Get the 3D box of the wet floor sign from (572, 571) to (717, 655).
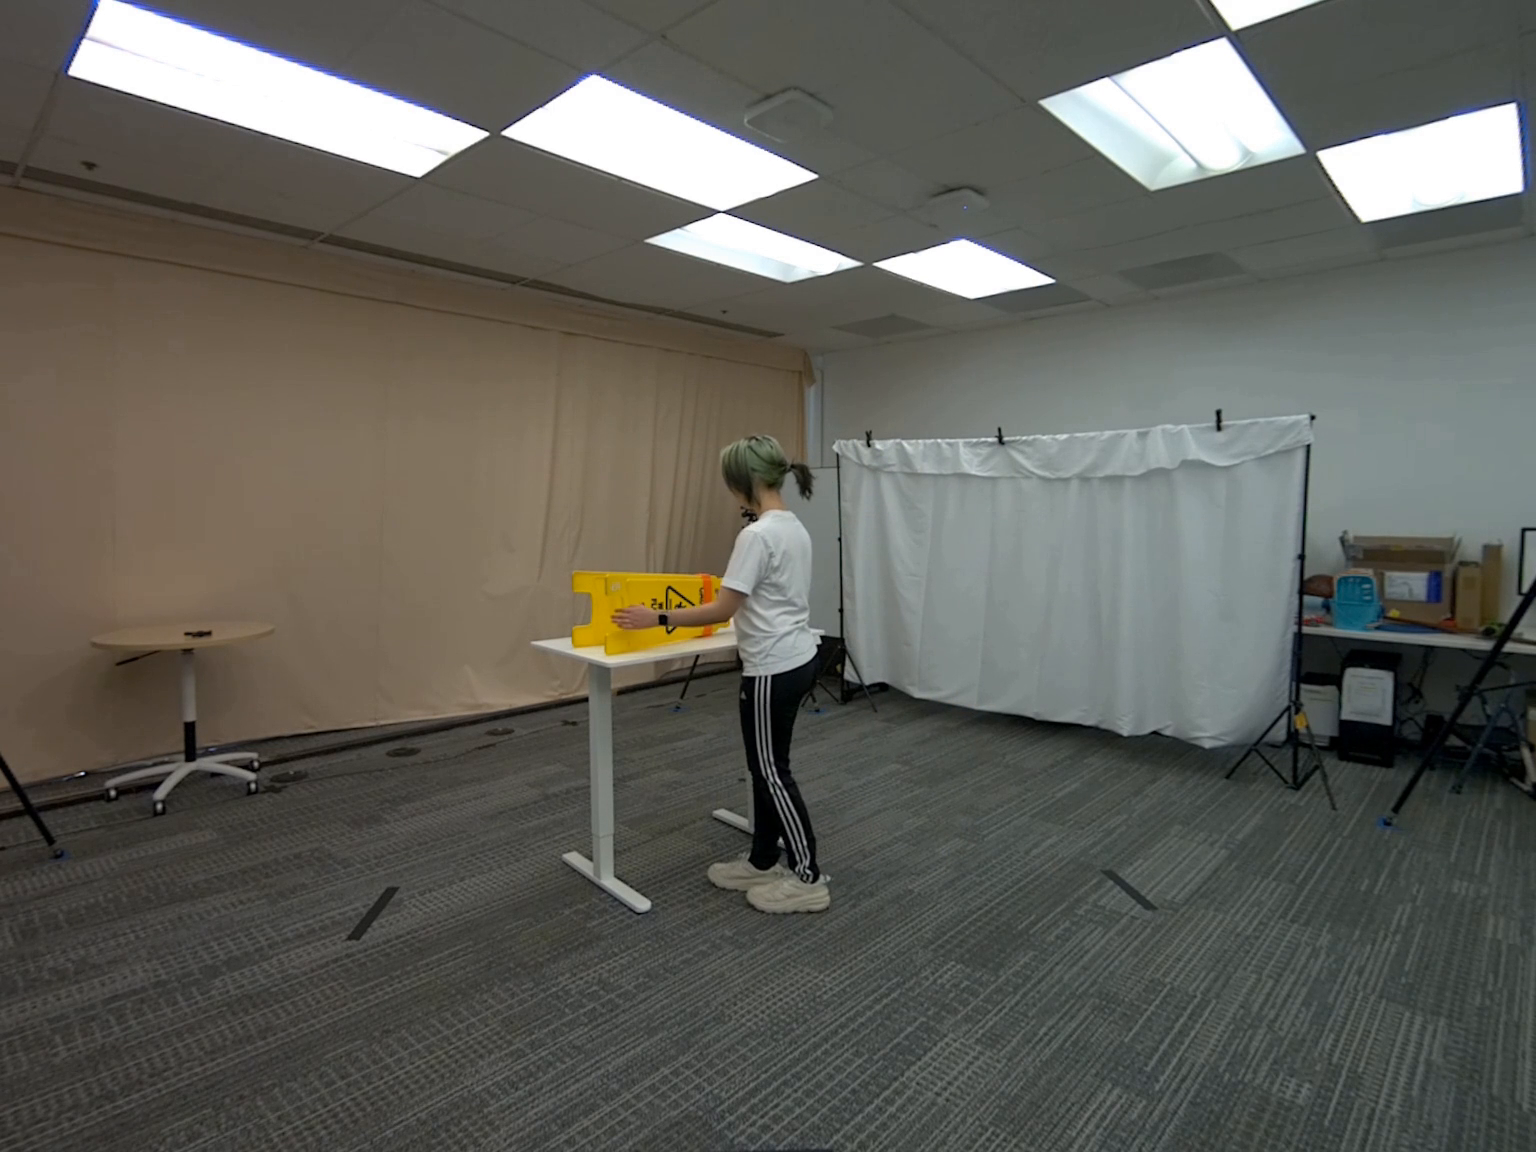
[{"bbox_3d":[-0.395,0.121,3.191,0.626,0.282,0.299,-2,3,-40],"label":"wet floor sign"}]
